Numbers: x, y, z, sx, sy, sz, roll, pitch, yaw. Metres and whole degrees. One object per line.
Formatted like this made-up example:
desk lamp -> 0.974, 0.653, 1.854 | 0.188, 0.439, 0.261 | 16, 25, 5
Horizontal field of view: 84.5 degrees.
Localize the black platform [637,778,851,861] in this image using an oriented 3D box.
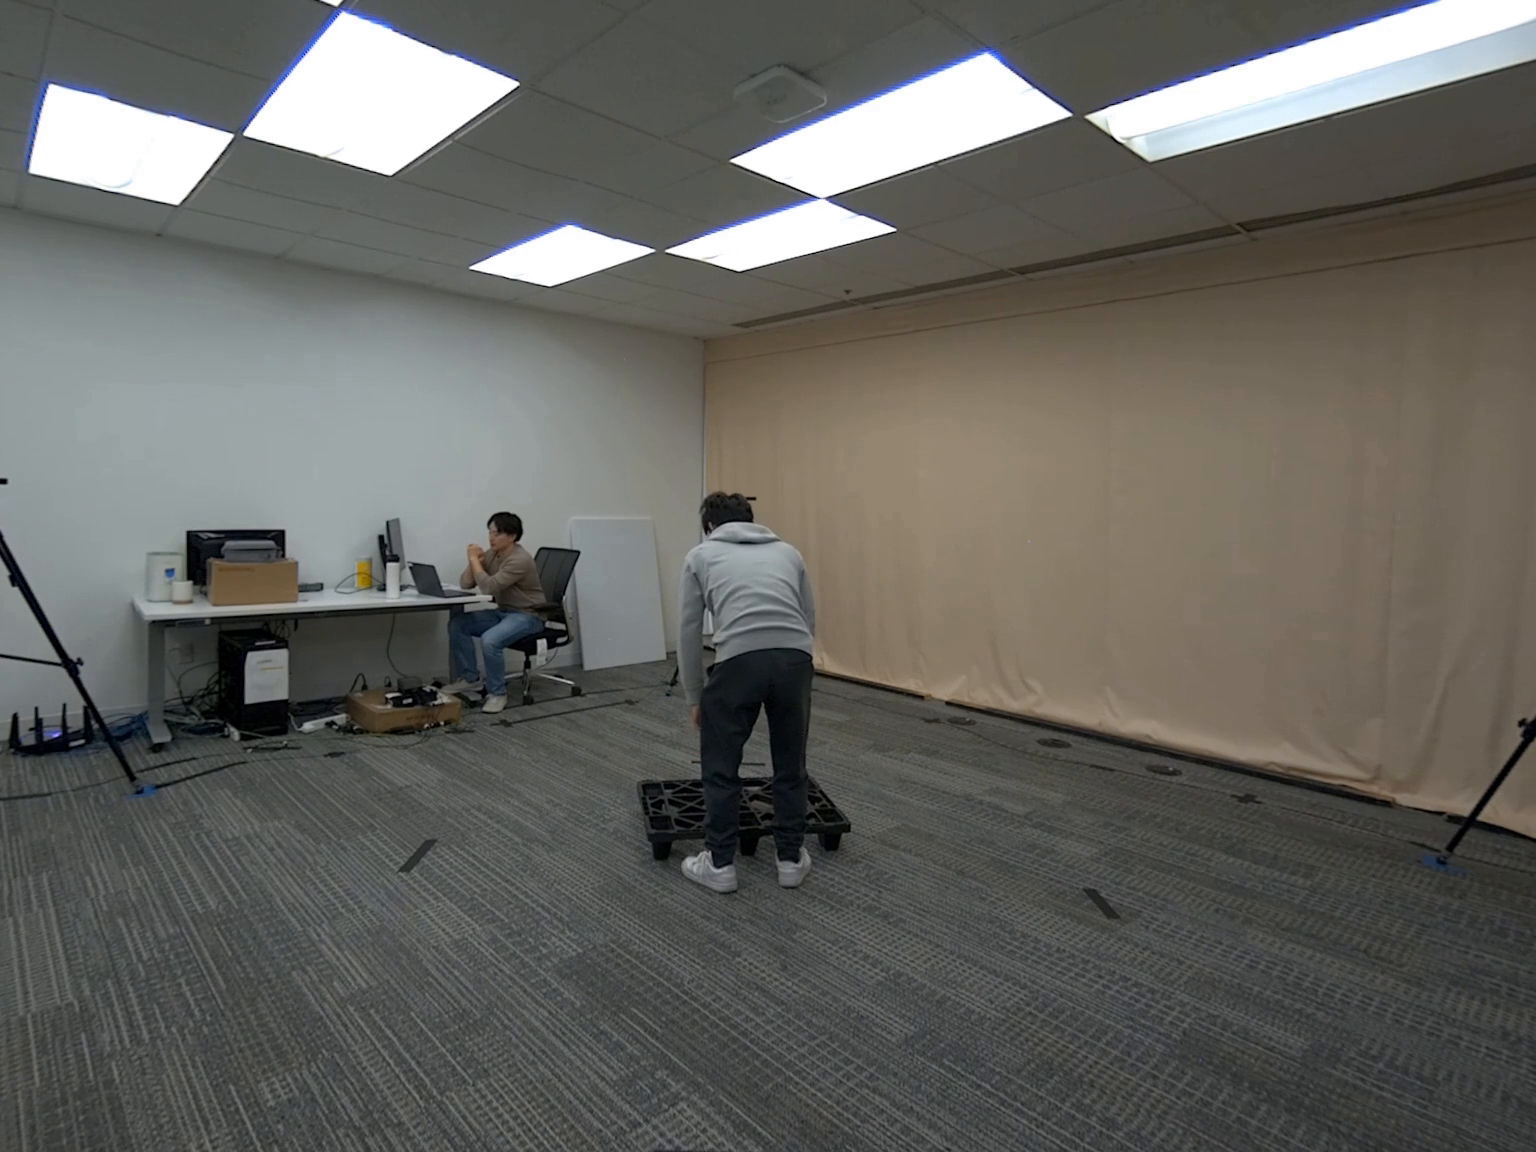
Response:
black platform -> -0.136, 1.003, 3.515 | 0.799, 0.143, 0.612 | 1, 4, -11
